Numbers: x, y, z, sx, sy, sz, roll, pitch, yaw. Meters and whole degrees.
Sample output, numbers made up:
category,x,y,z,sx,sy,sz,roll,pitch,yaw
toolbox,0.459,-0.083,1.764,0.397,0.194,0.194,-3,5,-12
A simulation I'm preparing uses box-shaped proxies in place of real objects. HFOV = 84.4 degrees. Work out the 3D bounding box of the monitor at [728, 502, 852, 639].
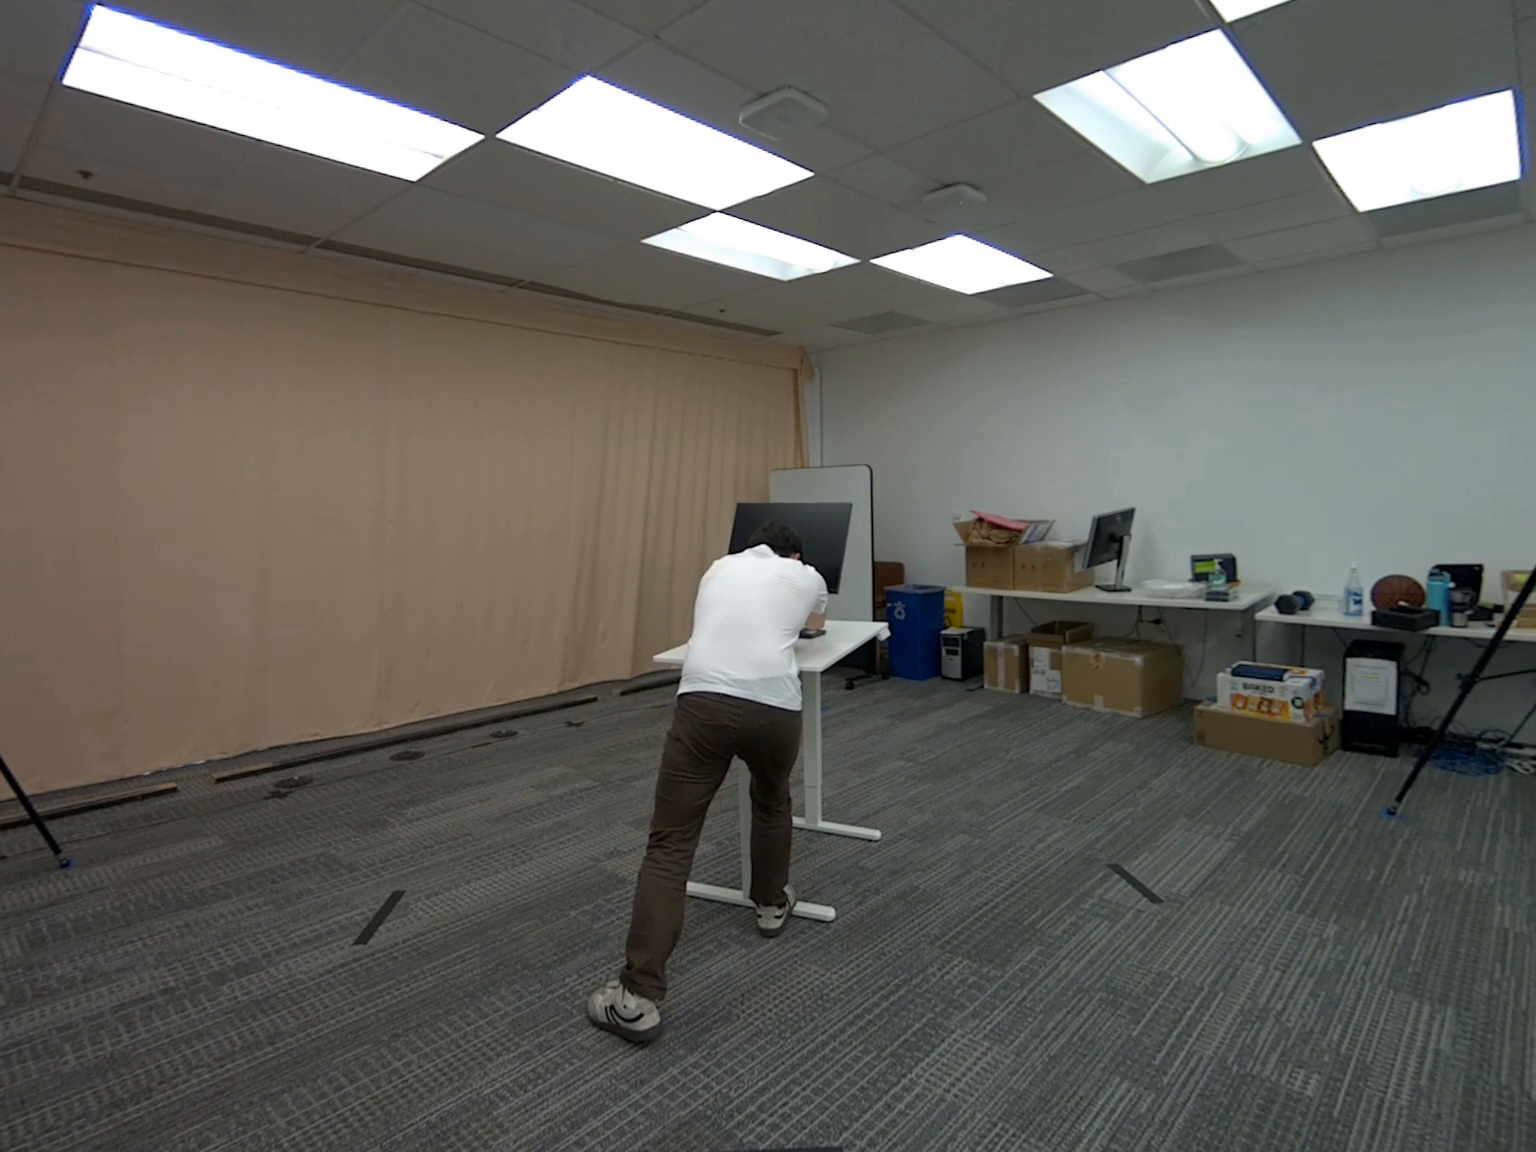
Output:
category,x,y,z,sx,sy,sz,roll,pitch,yaw
monitor,0.090,-0.028,3.316,0.556,0.522,0.181,3,1,34
